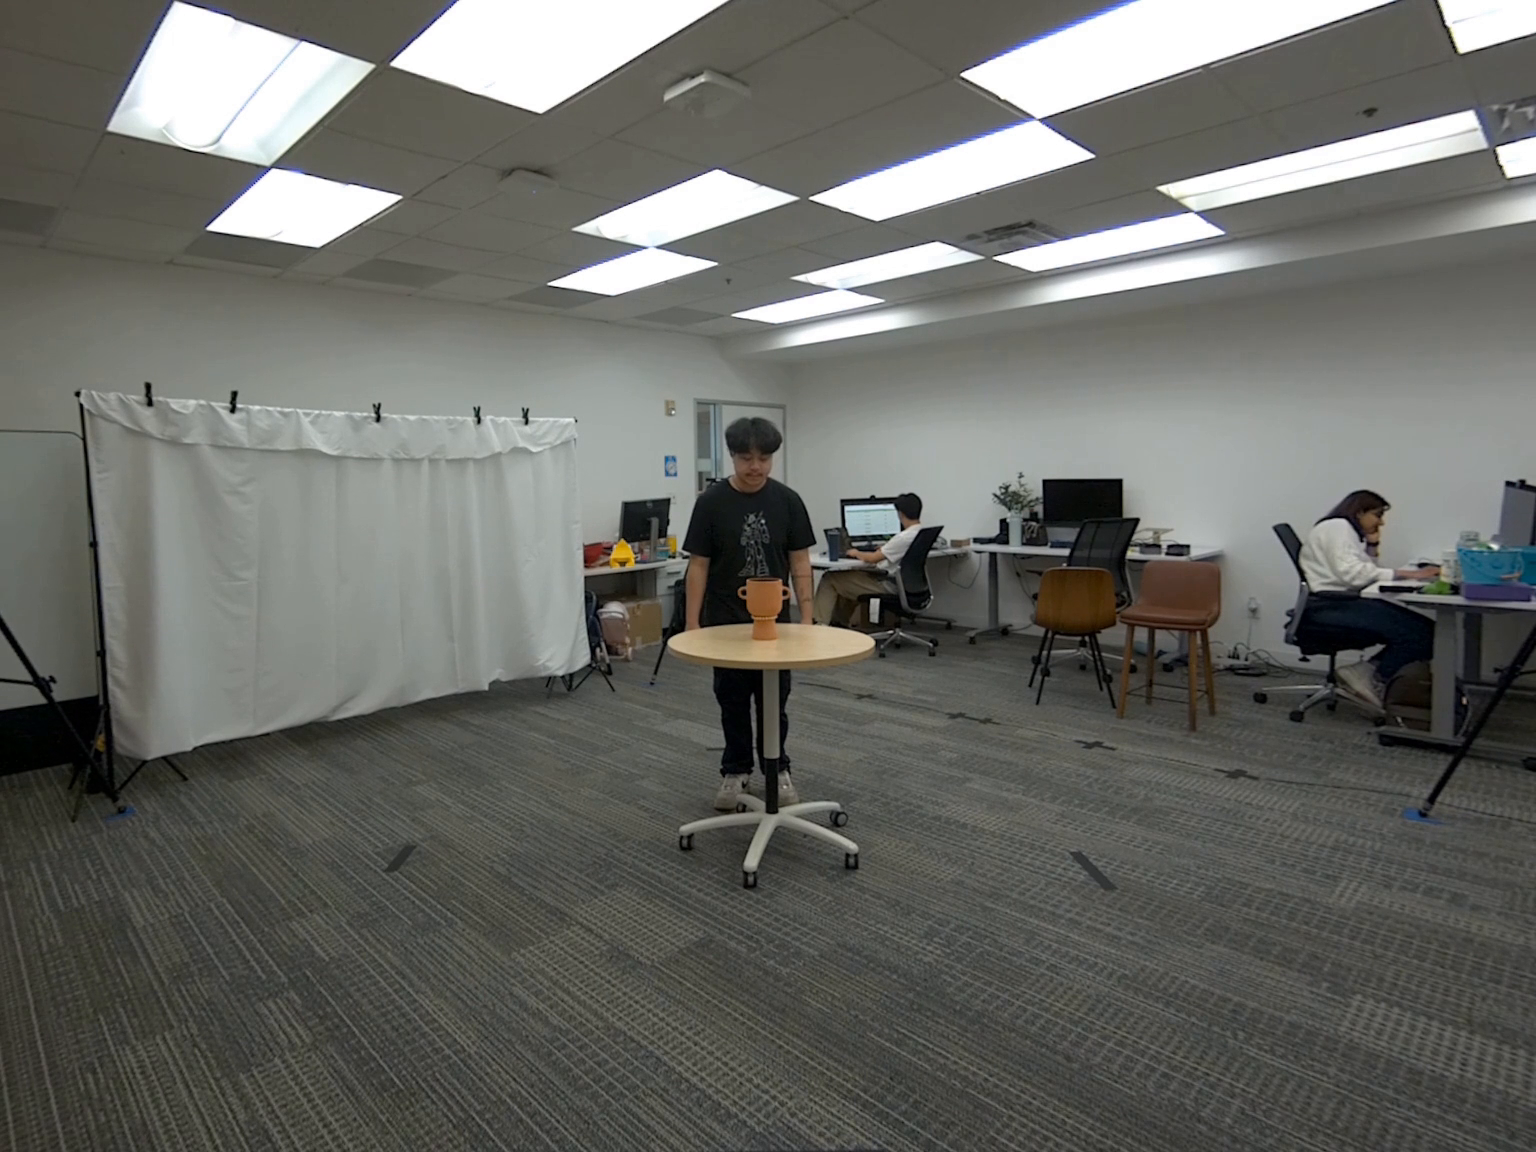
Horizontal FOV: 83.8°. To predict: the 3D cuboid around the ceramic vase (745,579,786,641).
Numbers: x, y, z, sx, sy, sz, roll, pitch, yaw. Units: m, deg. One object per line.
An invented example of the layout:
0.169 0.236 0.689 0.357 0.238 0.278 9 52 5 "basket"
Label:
-0.012 0.127 3.224 0.164 0.219 0.131 4 6 40 "ceramic vase"
